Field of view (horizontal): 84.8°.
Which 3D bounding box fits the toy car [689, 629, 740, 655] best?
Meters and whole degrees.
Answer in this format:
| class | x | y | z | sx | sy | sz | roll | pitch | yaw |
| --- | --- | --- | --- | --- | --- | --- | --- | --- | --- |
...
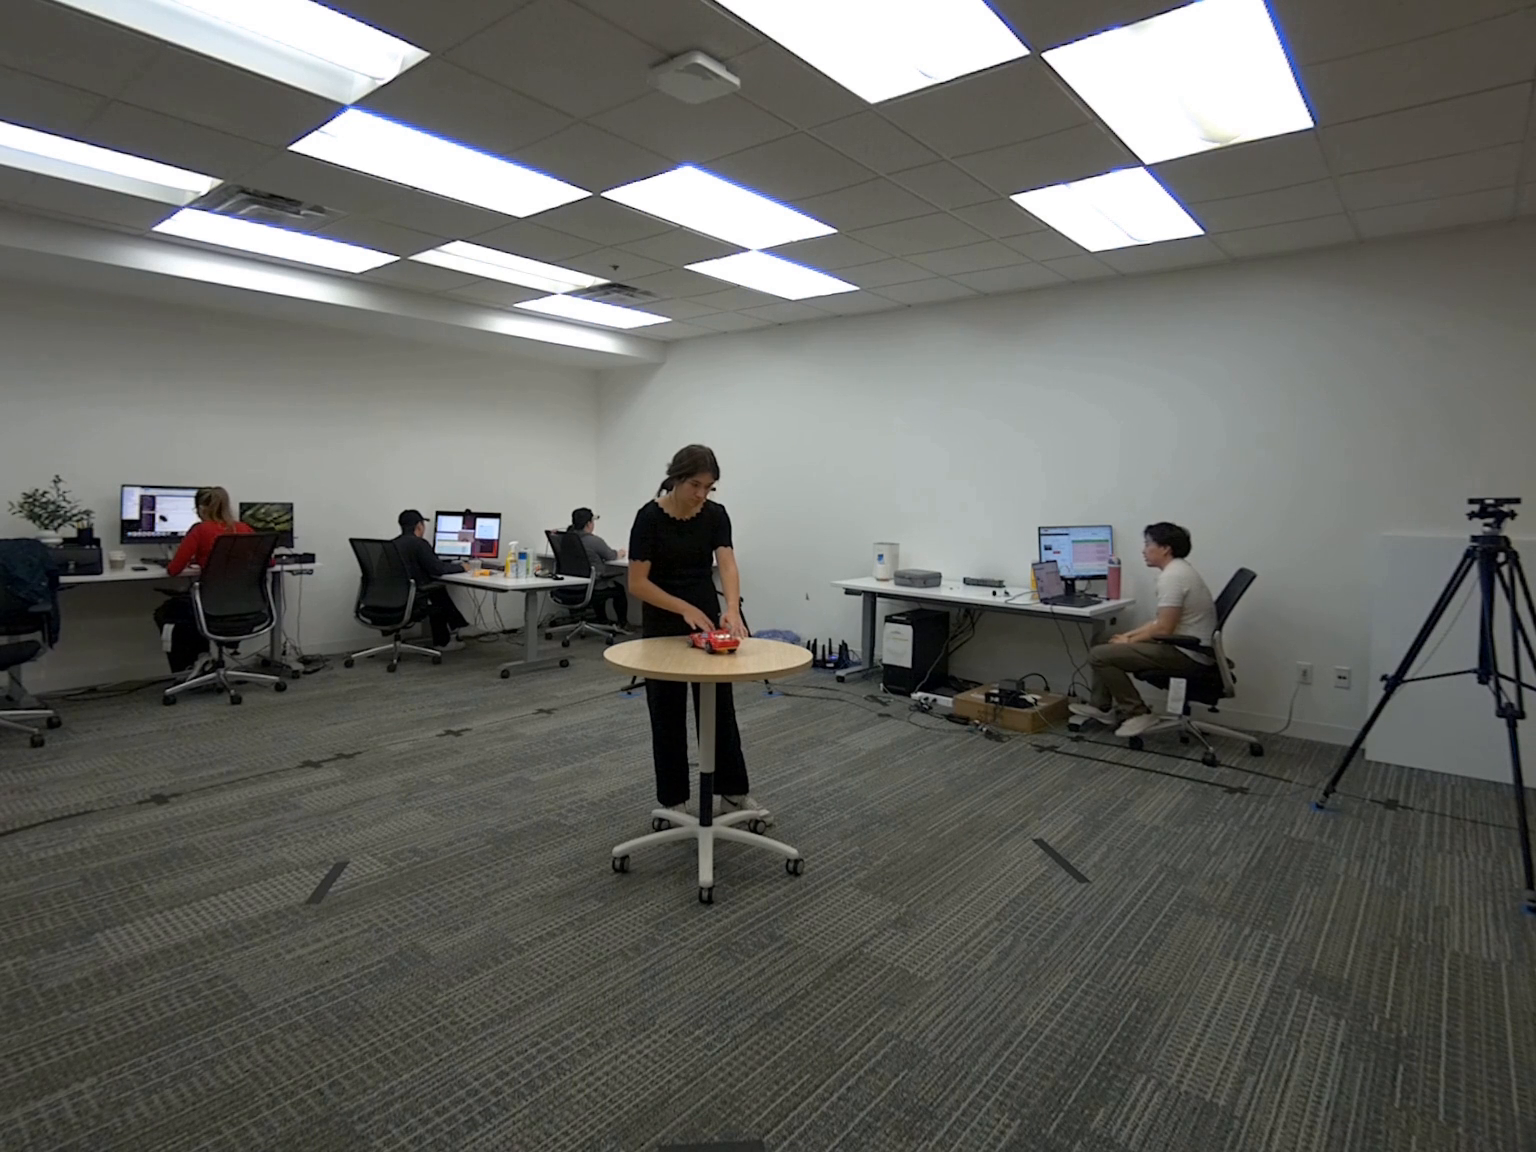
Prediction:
| class | x | y | z | sx | sy | sz | roll | pitch | yaw |
| --- | --- | --- | --- | --- | --- | --- | --- | --- | --- |
| toy car | -0.213 | 0.245 | 3.167 | 0.127 | 0.084 | 0.259 | -2 | -6 | -30 |
